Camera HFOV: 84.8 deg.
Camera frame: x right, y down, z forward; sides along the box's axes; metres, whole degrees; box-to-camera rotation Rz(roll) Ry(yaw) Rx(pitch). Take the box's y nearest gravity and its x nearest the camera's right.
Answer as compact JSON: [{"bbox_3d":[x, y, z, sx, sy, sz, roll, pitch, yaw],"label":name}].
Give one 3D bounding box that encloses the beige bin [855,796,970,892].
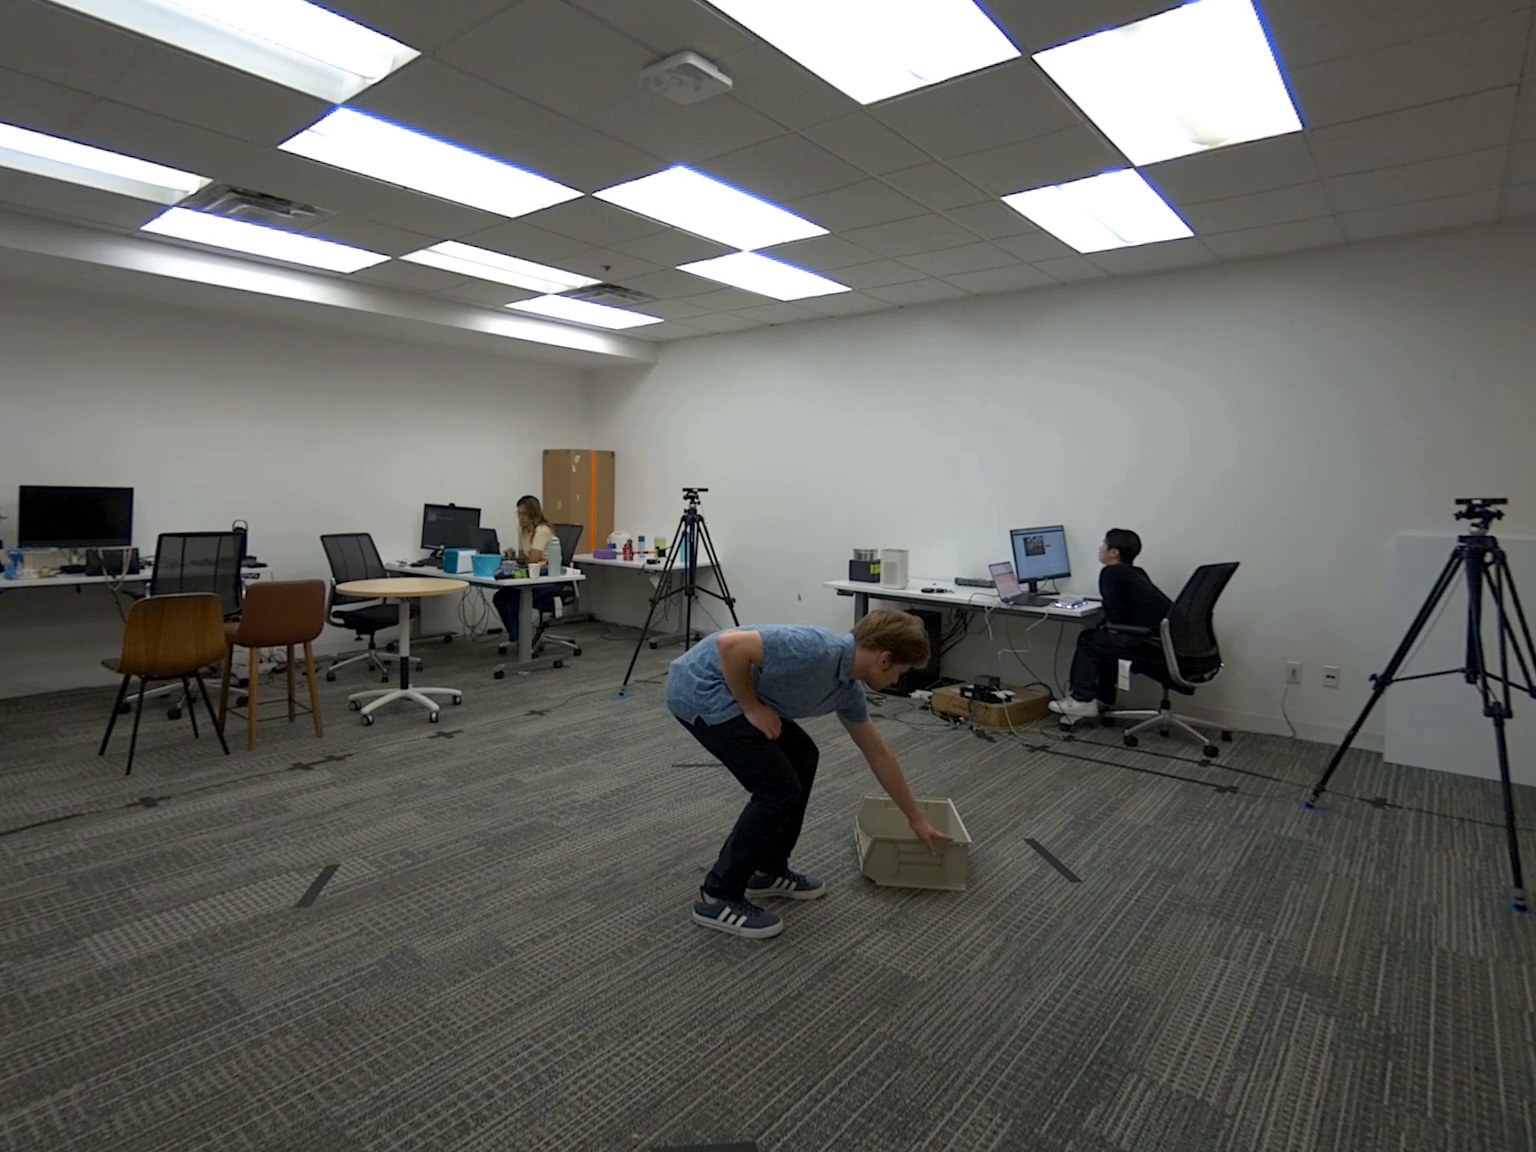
[{"bbox_3d":[0.523,0.986,3.201,0.379,0.188,0.422,2,5,3],"label":"beige bin"}]
